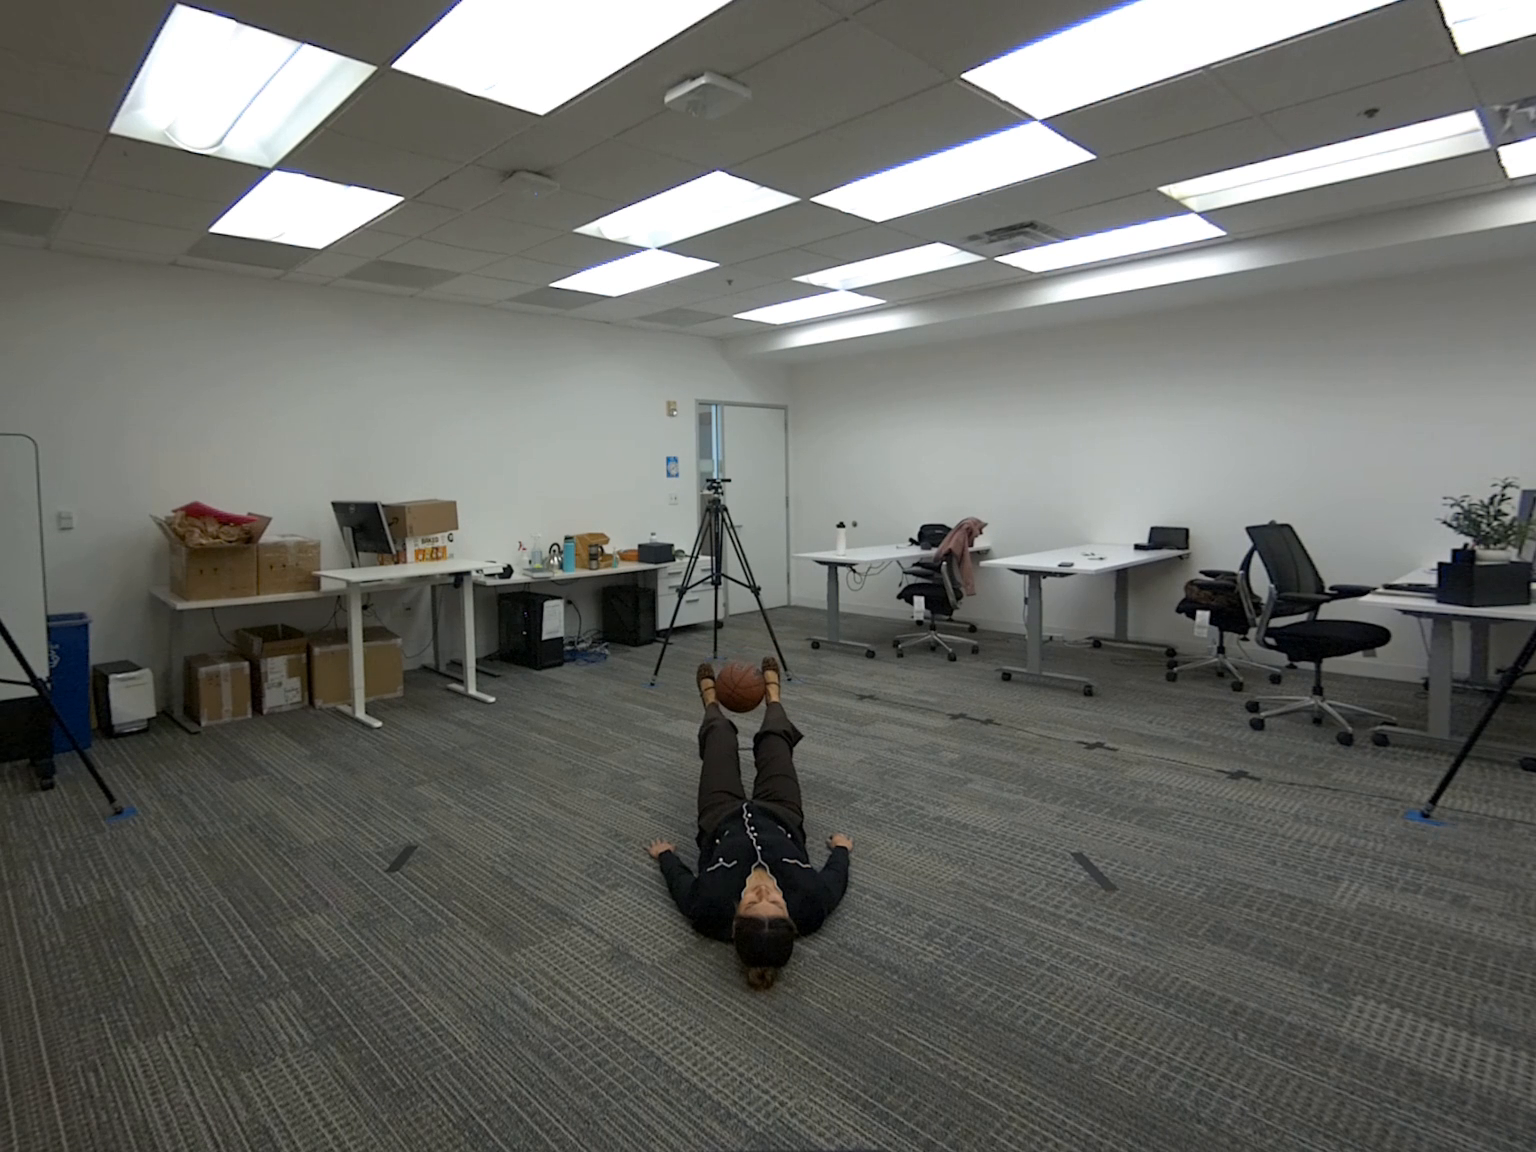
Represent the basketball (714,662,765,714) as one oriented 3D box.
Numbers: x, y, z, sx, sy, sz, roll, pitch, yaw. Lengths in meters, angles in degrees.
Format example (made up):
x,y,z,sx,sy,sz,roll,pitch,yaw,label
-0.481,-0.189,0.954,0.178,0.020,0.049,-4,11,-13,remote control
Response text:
x,y,z,sx,sy,sz,roll,pitch,yaw,label
-0.127,0.512,3.964,0.236,0.235,0.237,-4,4,-1,basketball
